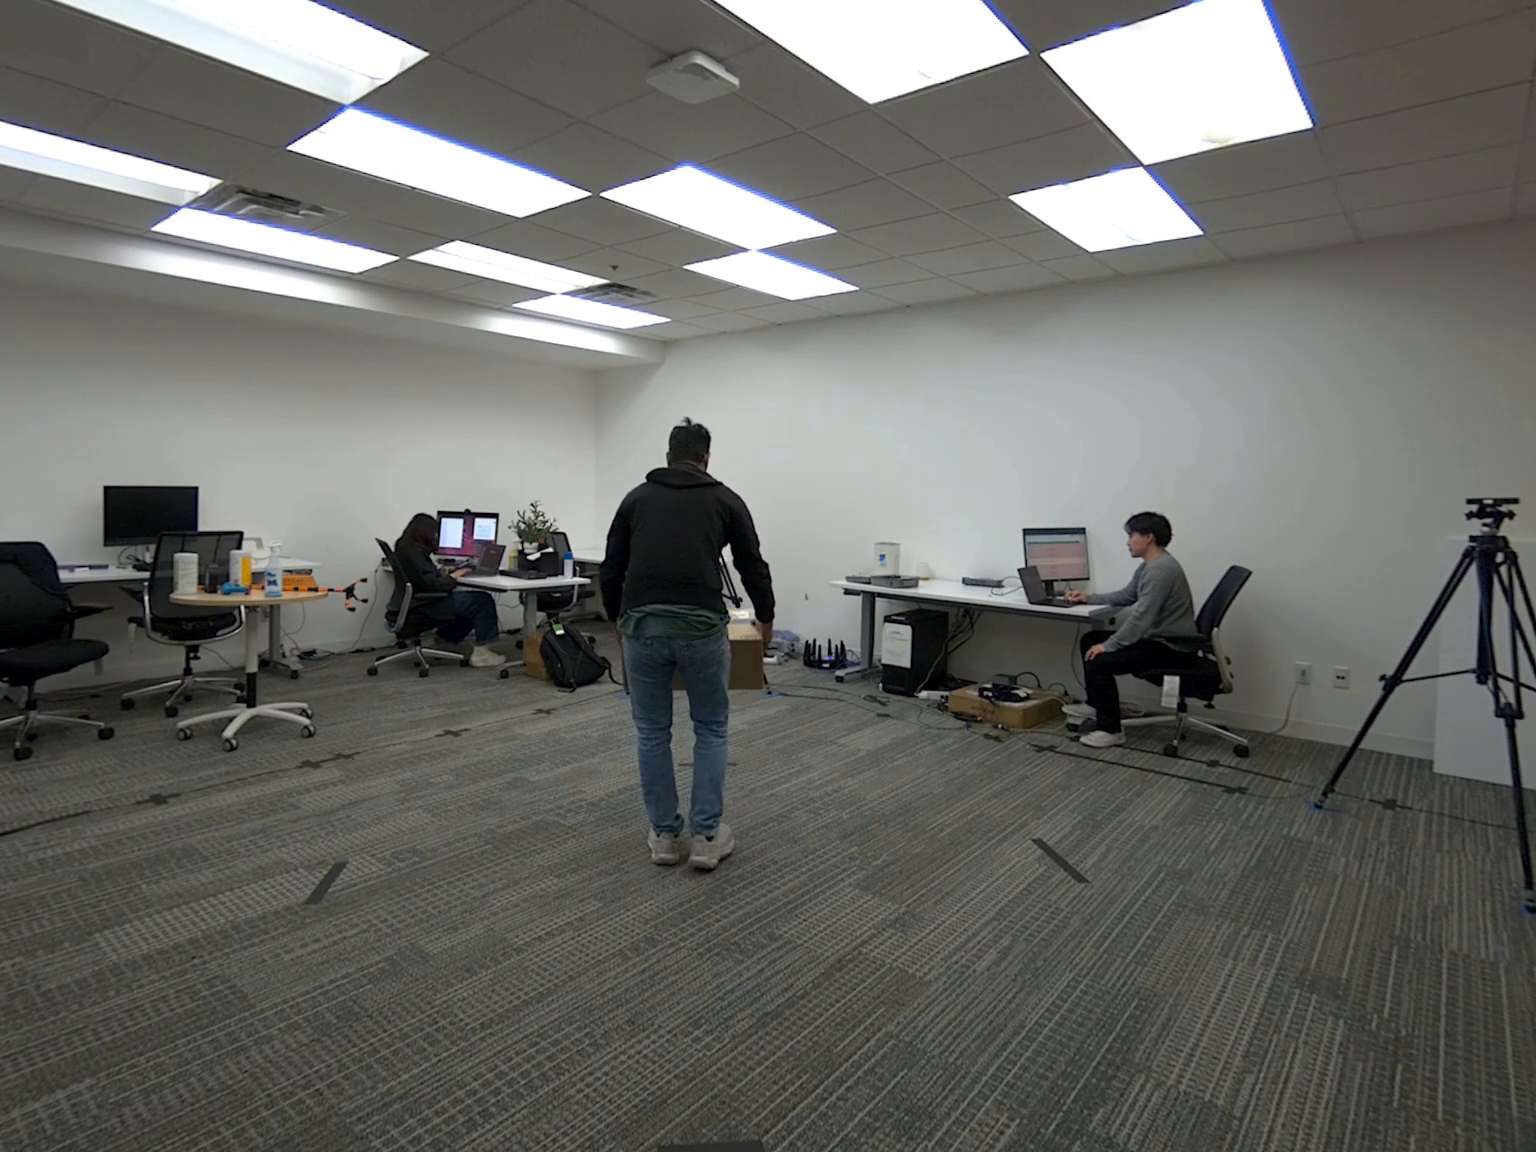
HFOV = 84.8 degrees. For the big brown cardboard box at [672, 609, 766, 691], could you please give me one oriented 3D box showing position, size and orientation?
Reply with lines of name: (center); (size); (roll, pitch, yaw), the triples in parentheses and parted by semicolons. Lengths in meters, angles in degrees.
big brown cardboard box: (-0.309, 0.300, 3.582); (0.590, 0.230, 0.422); (-1, 14, 1)
